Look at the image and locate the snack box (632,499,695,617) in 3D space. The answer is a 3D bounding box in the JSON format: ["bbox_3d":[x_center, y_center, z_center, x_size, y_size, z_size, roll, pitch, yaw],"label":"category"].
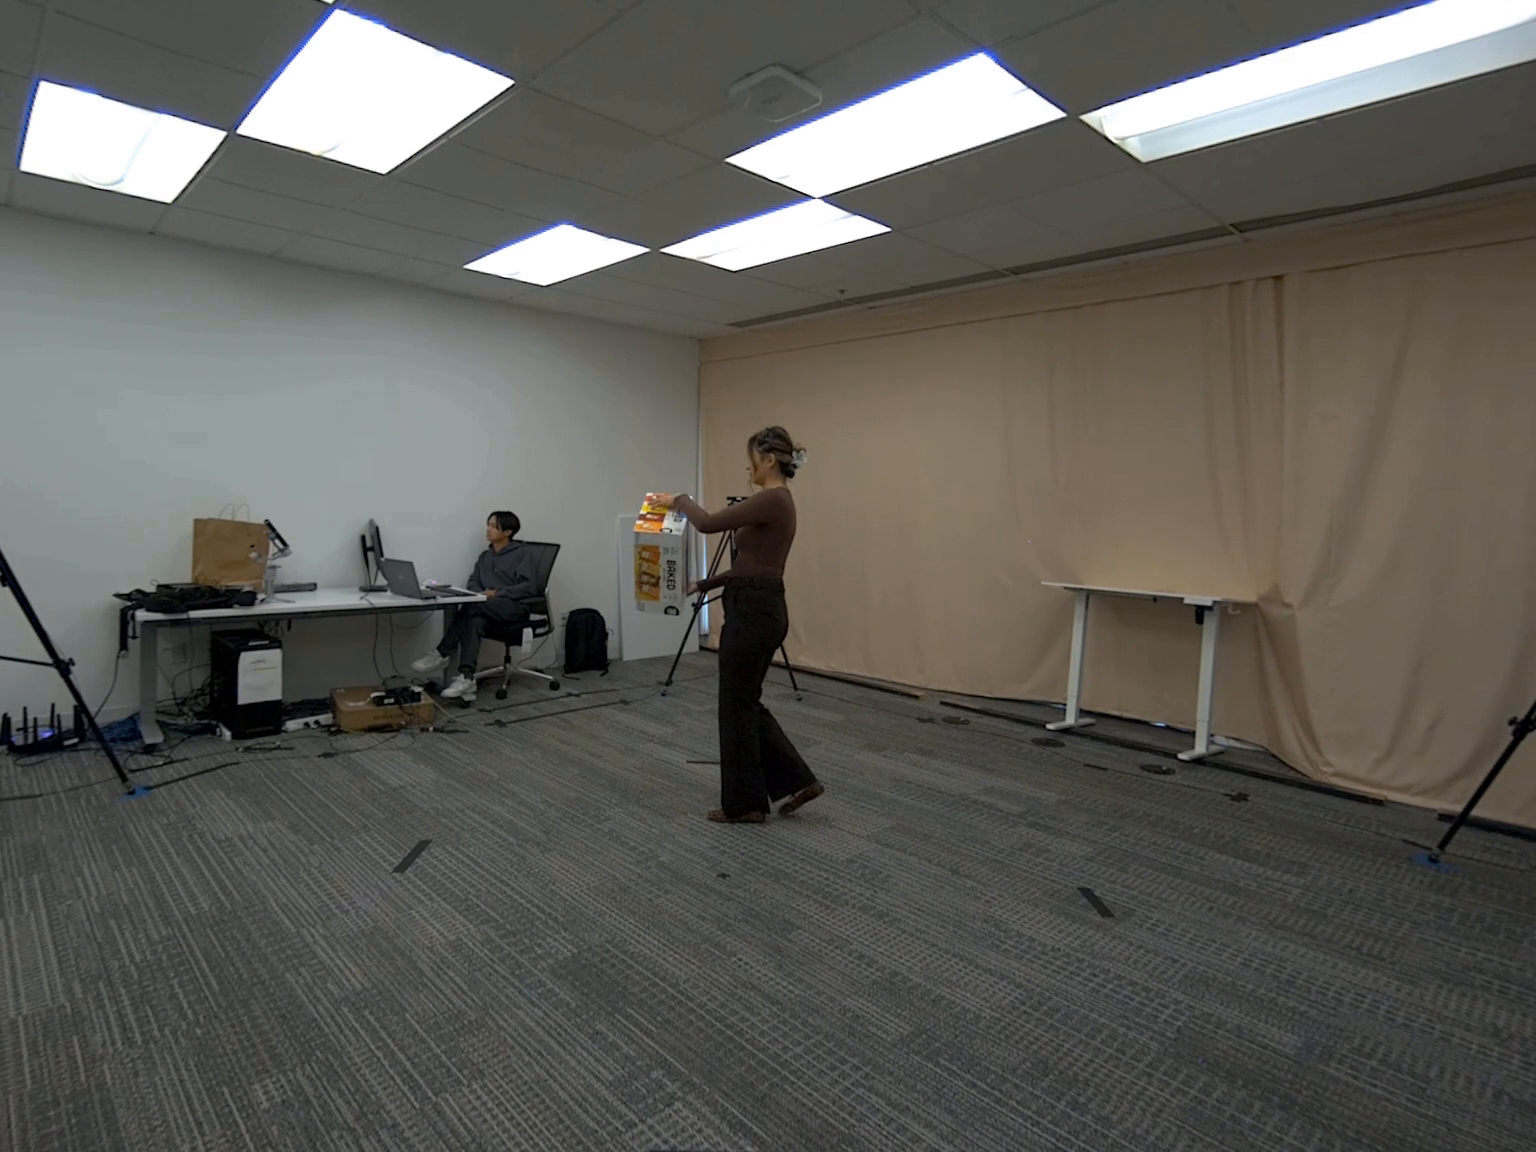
[{"bbox_3d":[-0.466,-0.102,3.632,0.206,0.398,0.346,5,32,0],"label":"snack box"}]
